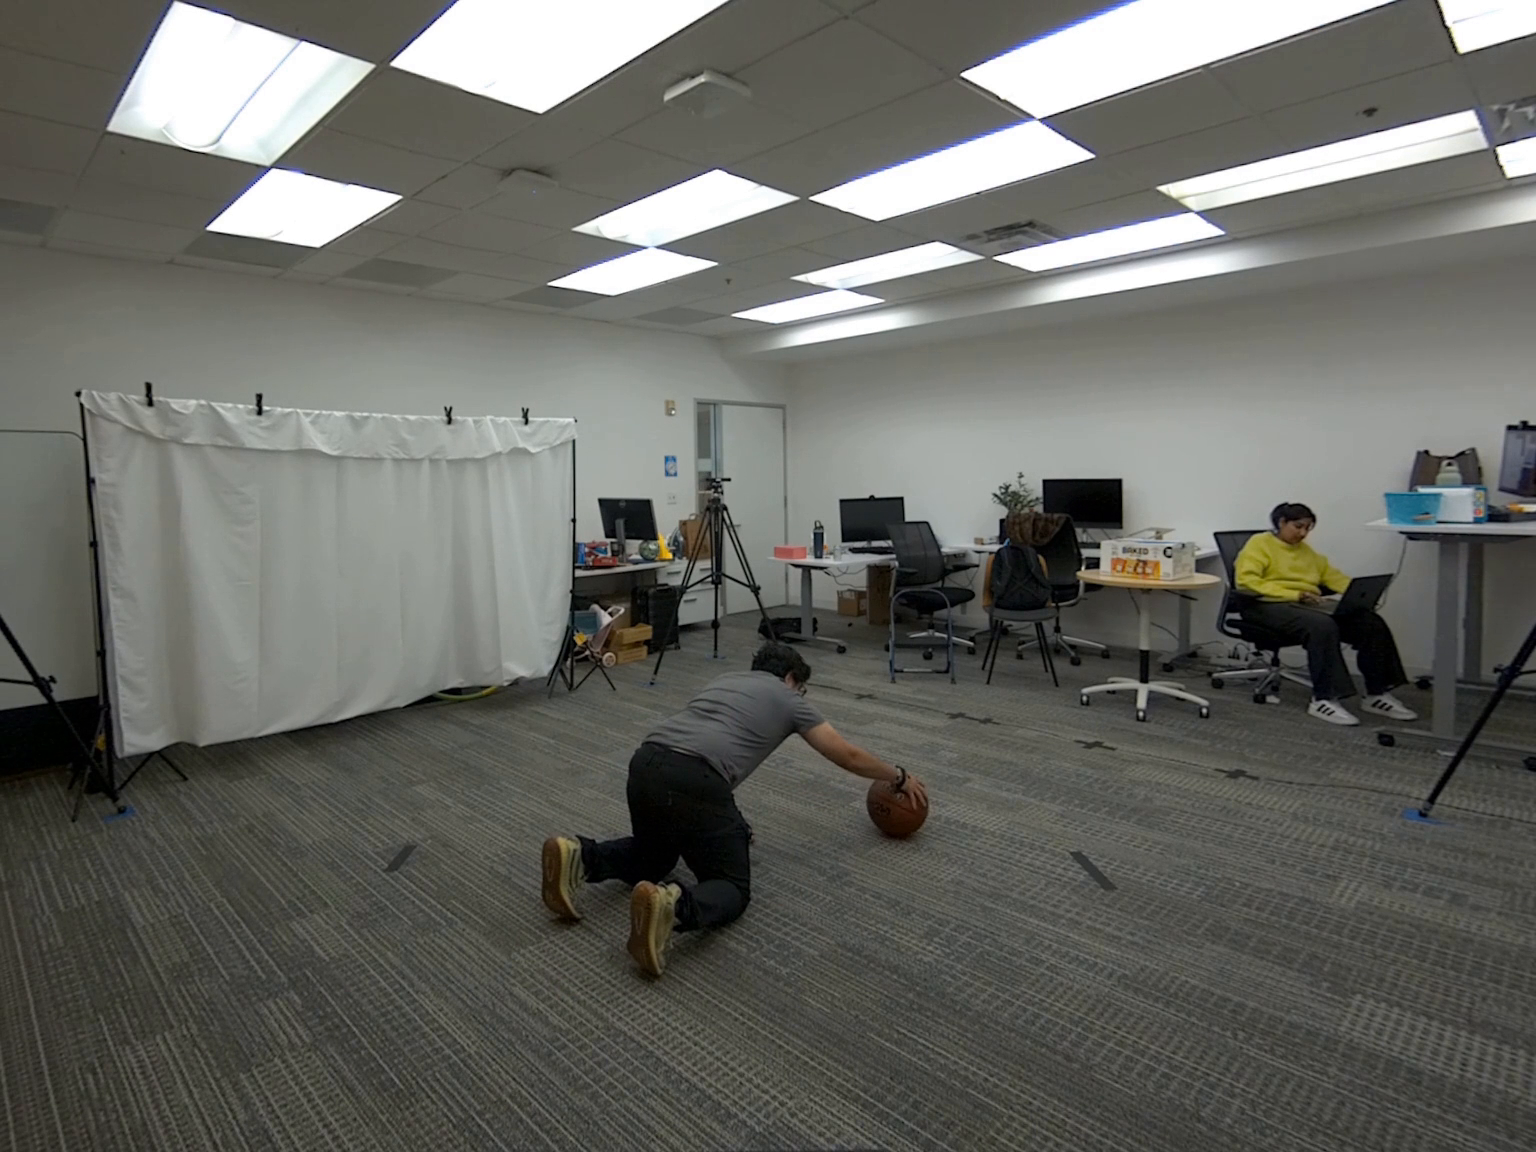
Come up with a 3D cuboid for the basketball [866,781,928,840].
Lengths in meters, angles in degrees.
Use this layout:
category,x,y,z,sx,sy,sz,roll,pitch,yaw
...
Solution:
category,x,y,z,sx,sy,sz,roll,pitch,yaw
basketball,0.504,0.887,3.333,0.236,0.235,0.237,-1,5,-2
